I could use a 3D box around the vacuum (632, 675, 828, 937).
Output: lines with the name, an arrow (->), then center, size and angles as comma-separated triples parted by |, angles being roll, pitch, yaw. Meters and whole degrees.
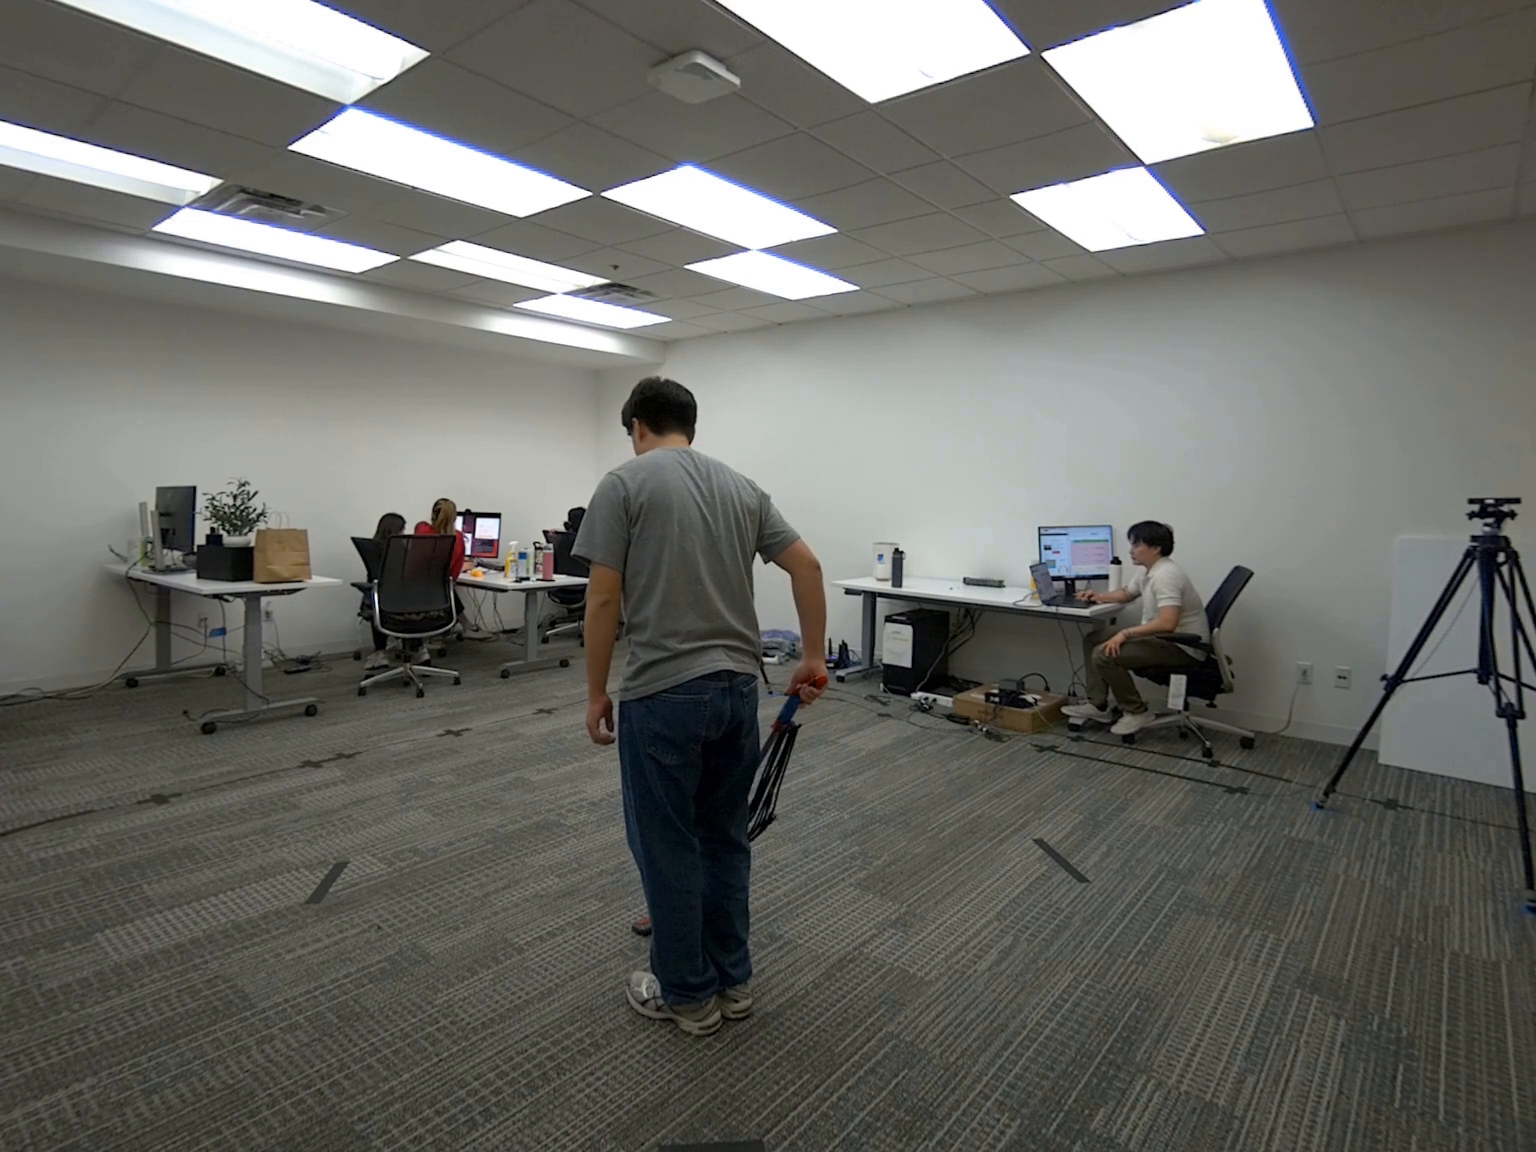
vacuum -> -0.100, 0.692, 2.479 | 0.245, 1.040, 0.150 | -4, 39, -48
